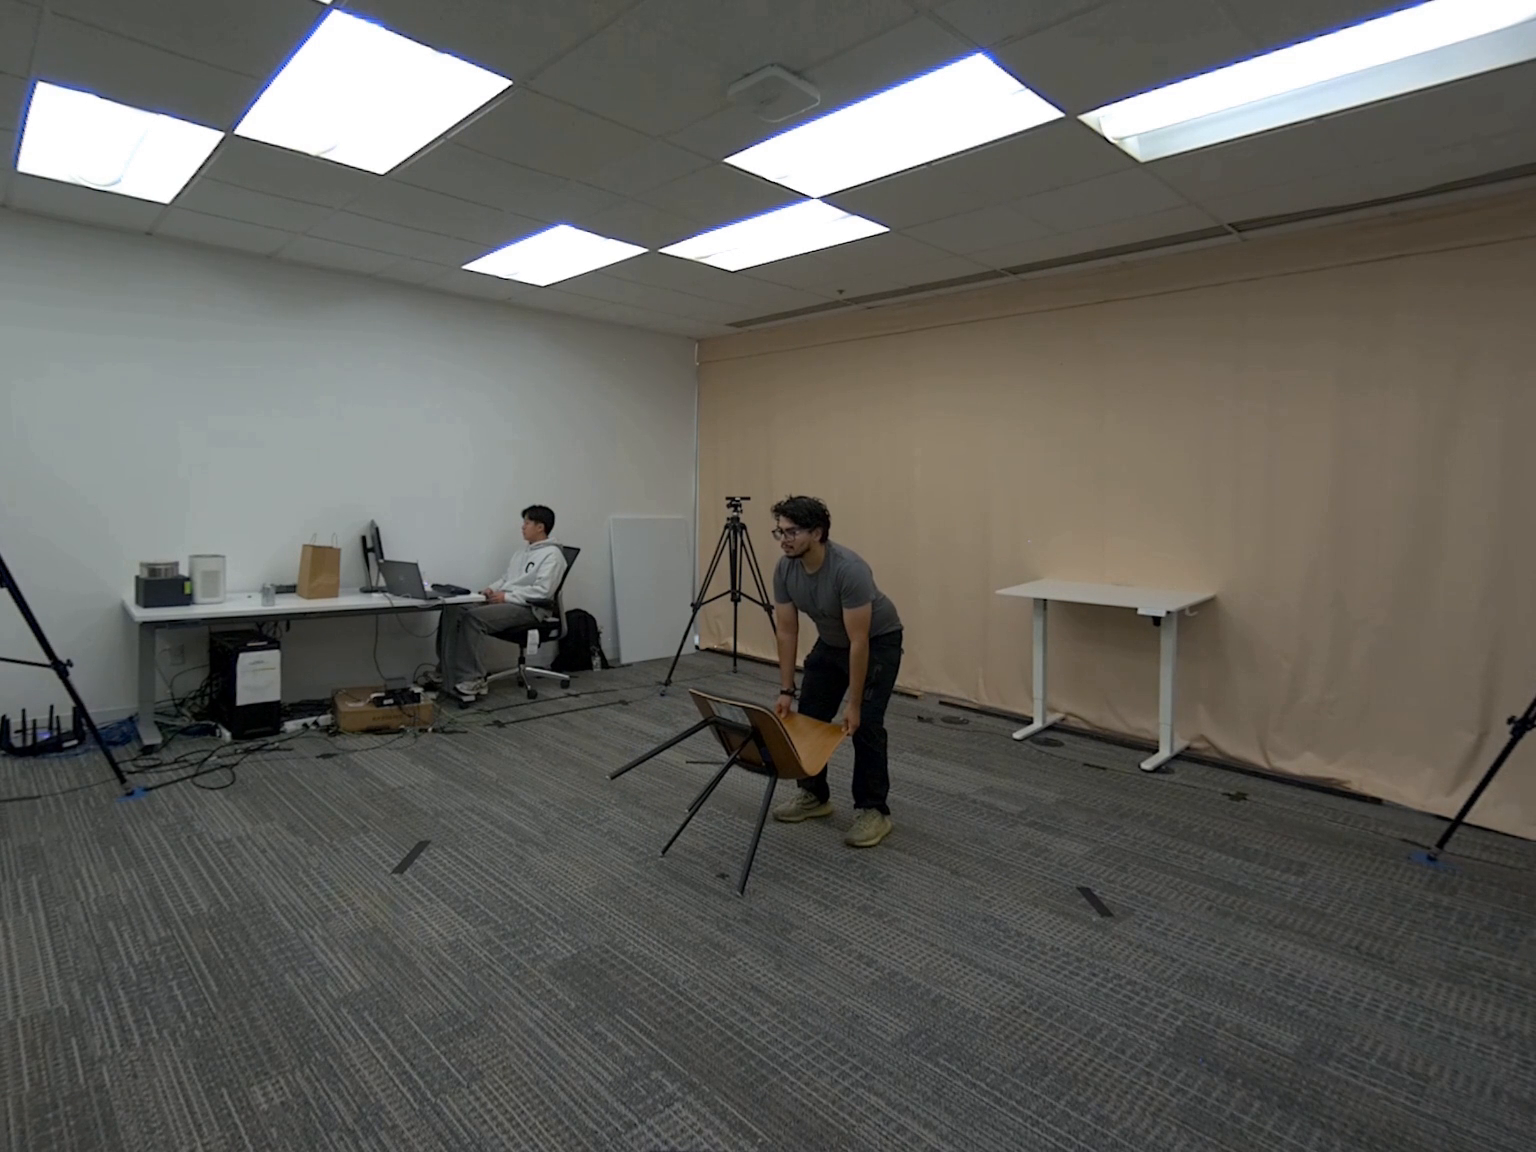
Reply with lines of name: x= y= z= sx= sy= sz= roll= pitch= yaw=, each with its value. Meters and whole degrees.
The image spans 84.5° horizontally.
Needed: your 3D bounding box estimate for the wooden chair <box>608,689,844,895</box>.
wooden chair: x=-0.106 y=0.657 z=3.224 sx=0.490 sy=0.511 sz=0.875 roll=4 pitch=37 yaw=44
